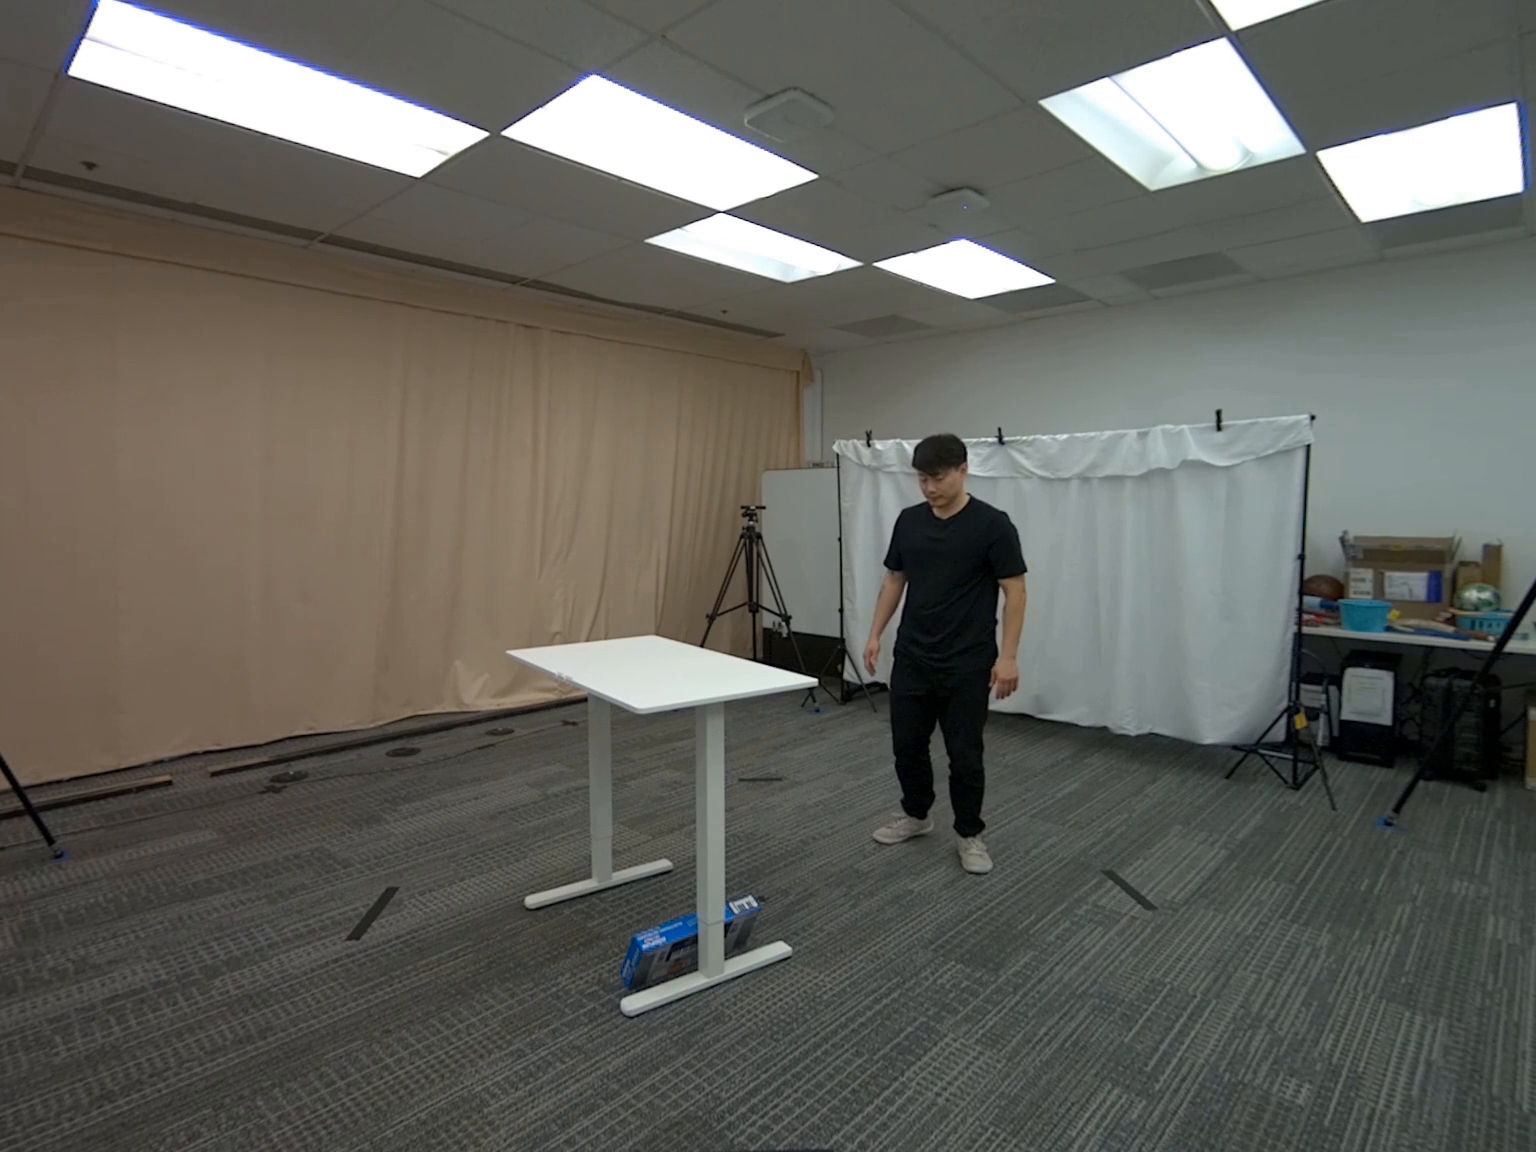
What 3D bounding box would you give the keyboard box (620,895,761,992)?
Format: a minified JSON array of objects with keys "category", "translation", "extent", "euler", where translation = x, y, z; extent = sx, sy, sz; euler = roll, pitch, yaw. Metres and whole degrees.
[{"category":"keyboard box","translation":[-0.226,1.100,2.533],"extent":[0.424,0.175,0.061],"euler":[-4,33,-37]}]
